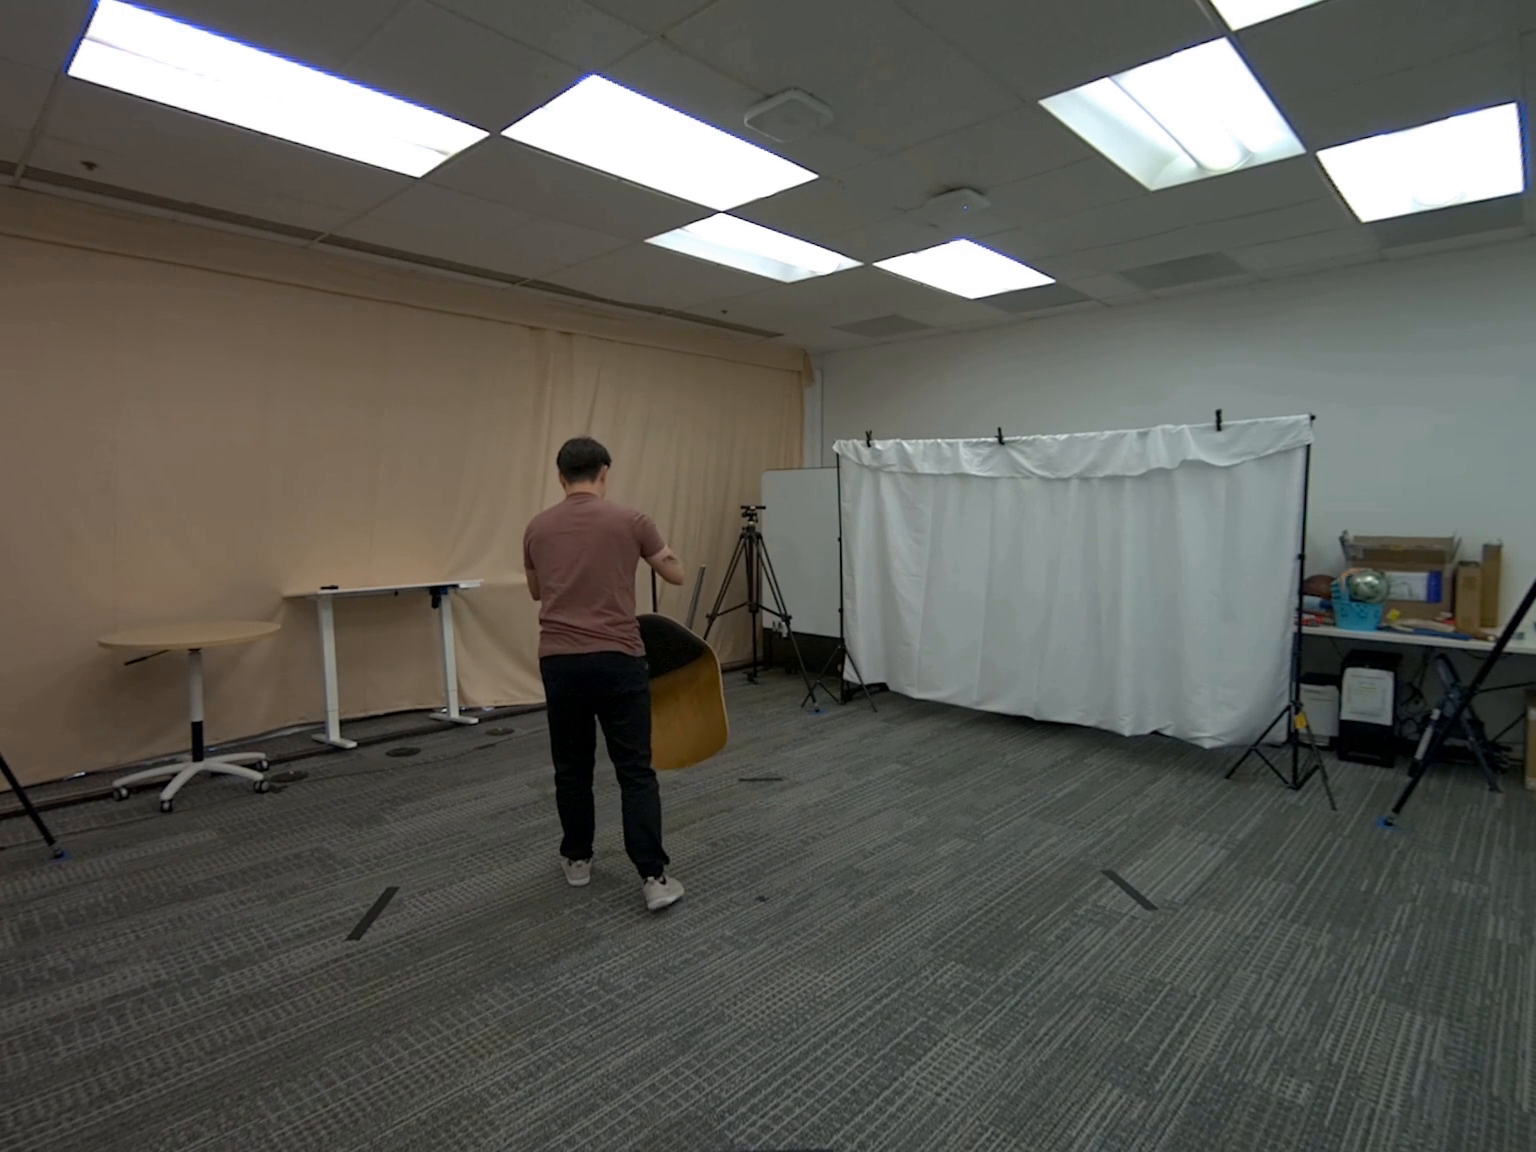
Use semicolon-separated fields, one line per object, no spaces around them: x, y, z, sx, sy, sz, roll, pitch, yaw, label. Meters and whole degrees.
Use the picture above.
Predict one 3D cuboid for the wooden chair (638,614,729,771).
-0.489;0.303;3.440;0.484;0.898;0.505;-25;-32;17;wooden chair
